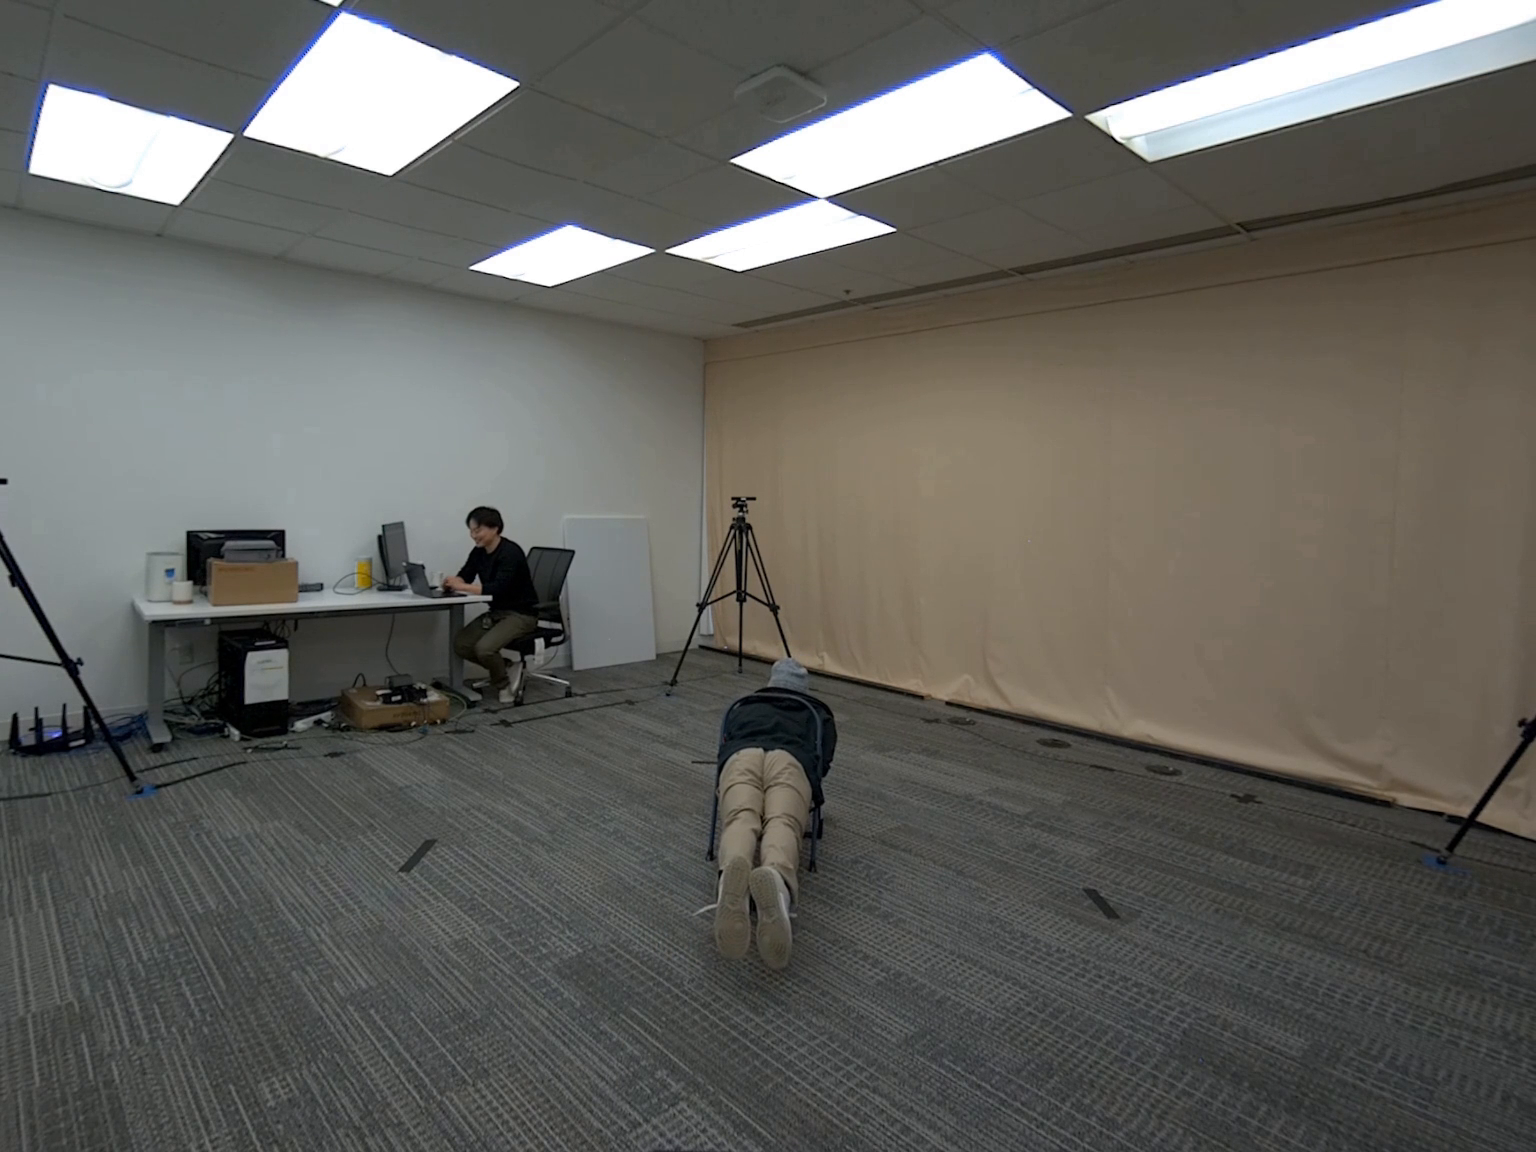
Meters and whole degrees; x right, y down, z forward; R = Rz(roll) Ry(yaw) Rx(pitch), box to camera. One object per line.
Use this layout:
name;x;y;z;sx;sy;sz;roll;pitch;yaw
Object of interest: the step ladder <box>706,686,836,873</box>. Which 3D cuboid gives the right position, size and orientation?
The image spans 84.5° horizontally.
step ladder;-0.004;0.791;3.353;0.434;0.605;0.347;2;2;9
